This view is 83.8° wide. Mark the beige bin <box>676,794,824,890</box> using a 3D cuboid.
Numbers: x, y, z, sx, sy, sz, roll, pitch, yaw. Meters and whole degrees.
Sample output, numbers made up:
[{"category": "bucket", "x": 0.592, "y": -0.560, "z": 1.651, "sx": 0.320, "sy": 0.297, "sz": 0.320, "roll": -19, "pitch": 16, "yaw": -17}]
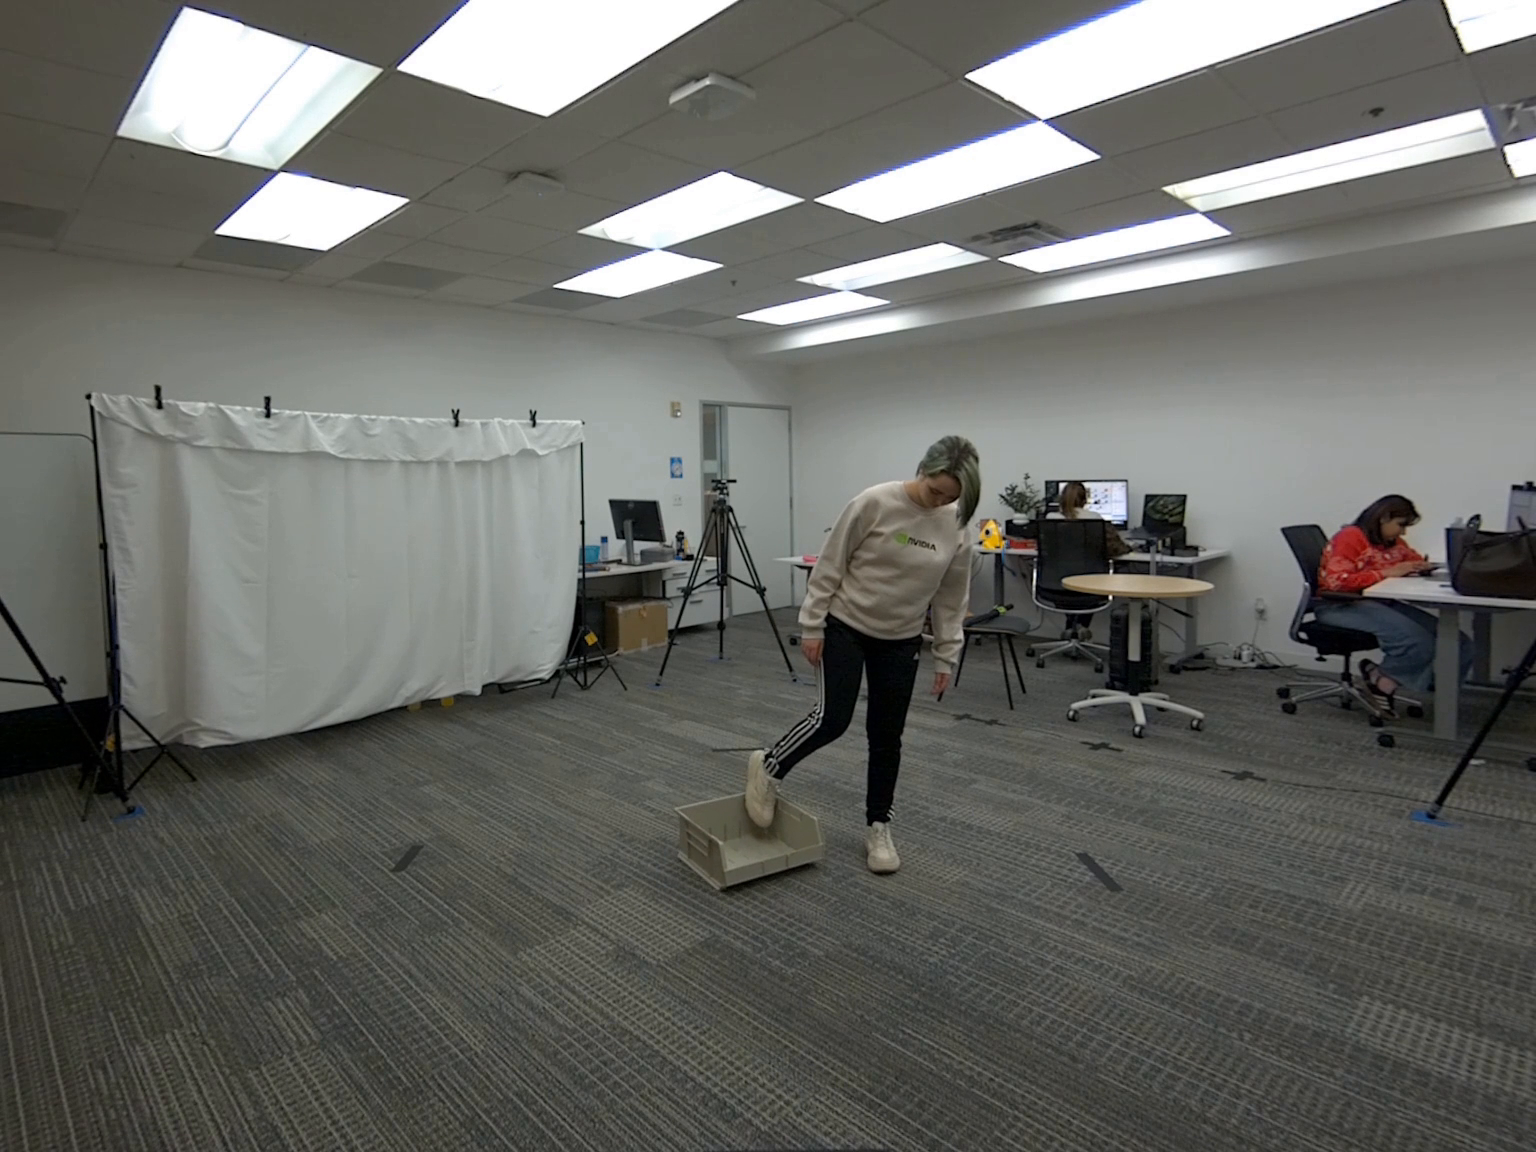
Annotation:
[{"category": "beige bin", "x": -0.068, "y": 0.956, "z": 3.120, "sx": 0.412, "sy": 0.188, "sz": 0.388, "roll": -5, "pitch": 6, "yaw": -31}]
